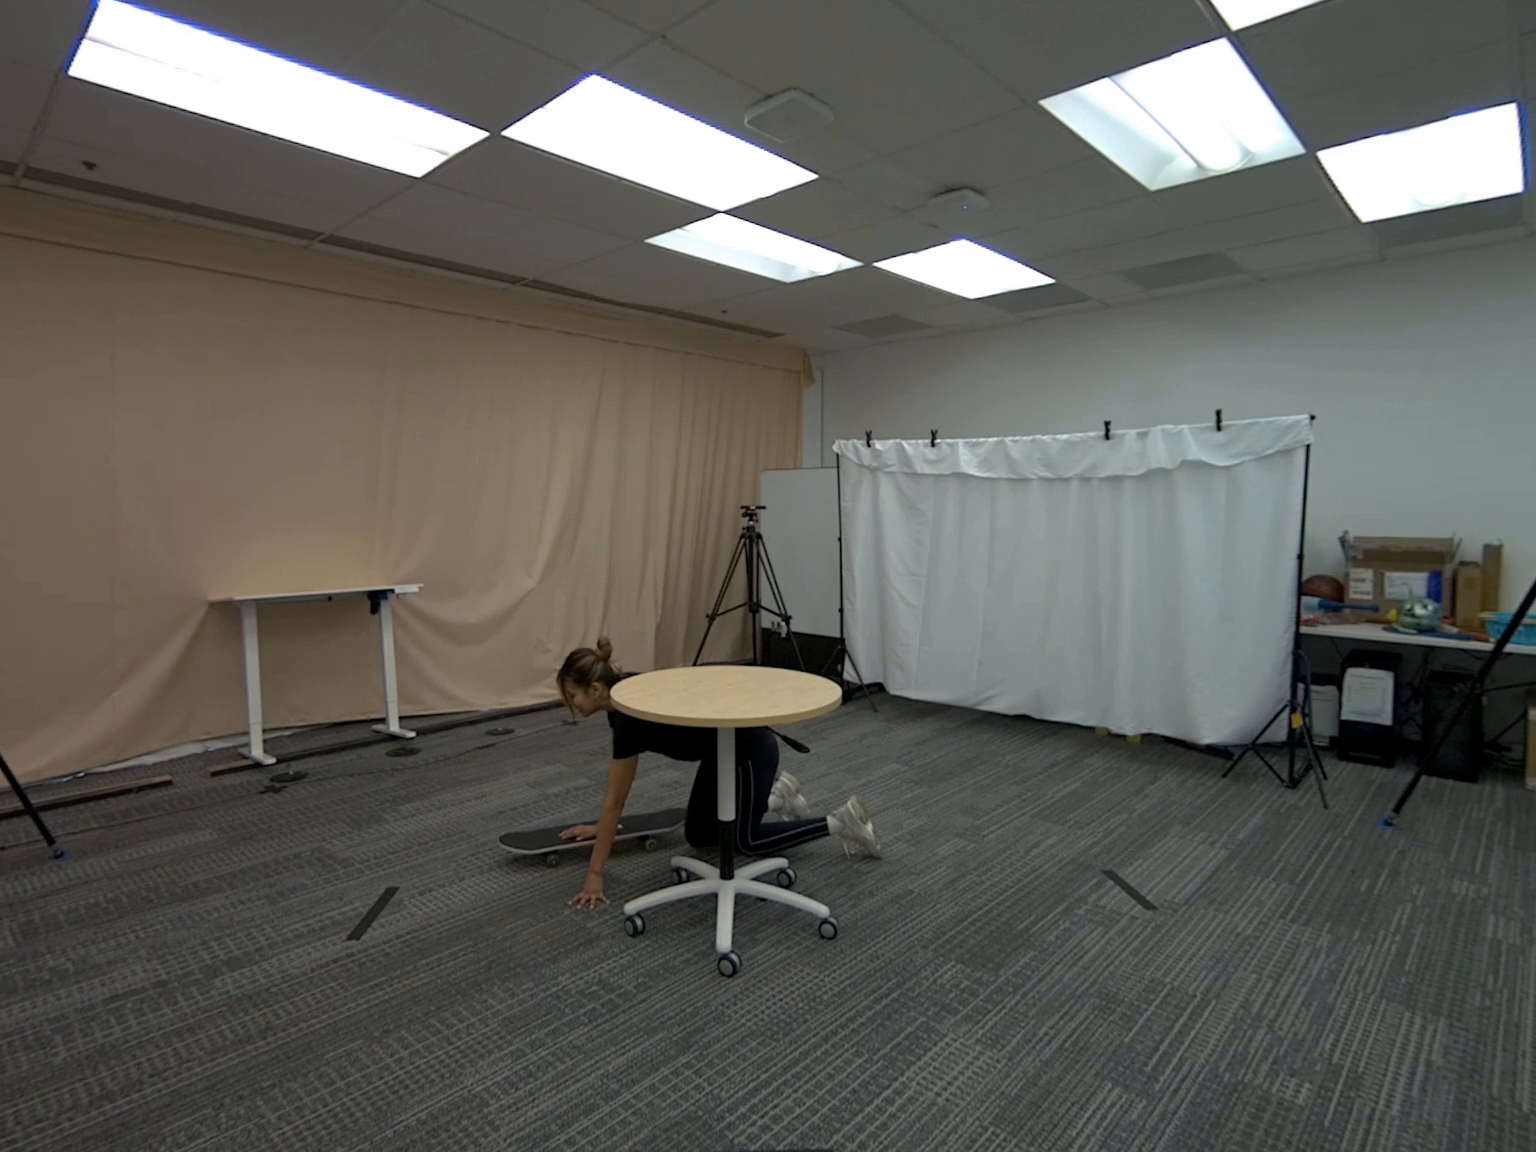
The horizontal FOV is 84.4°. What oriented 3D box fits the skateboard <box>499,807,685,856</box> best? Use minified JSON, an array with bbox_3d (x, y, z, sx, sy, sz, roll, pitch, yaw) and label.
[{"bbox_3d":[-0.690,1.061,3.408,0.768,0.110,0.198,-3,5,-23],"label":"skateboard"}]
